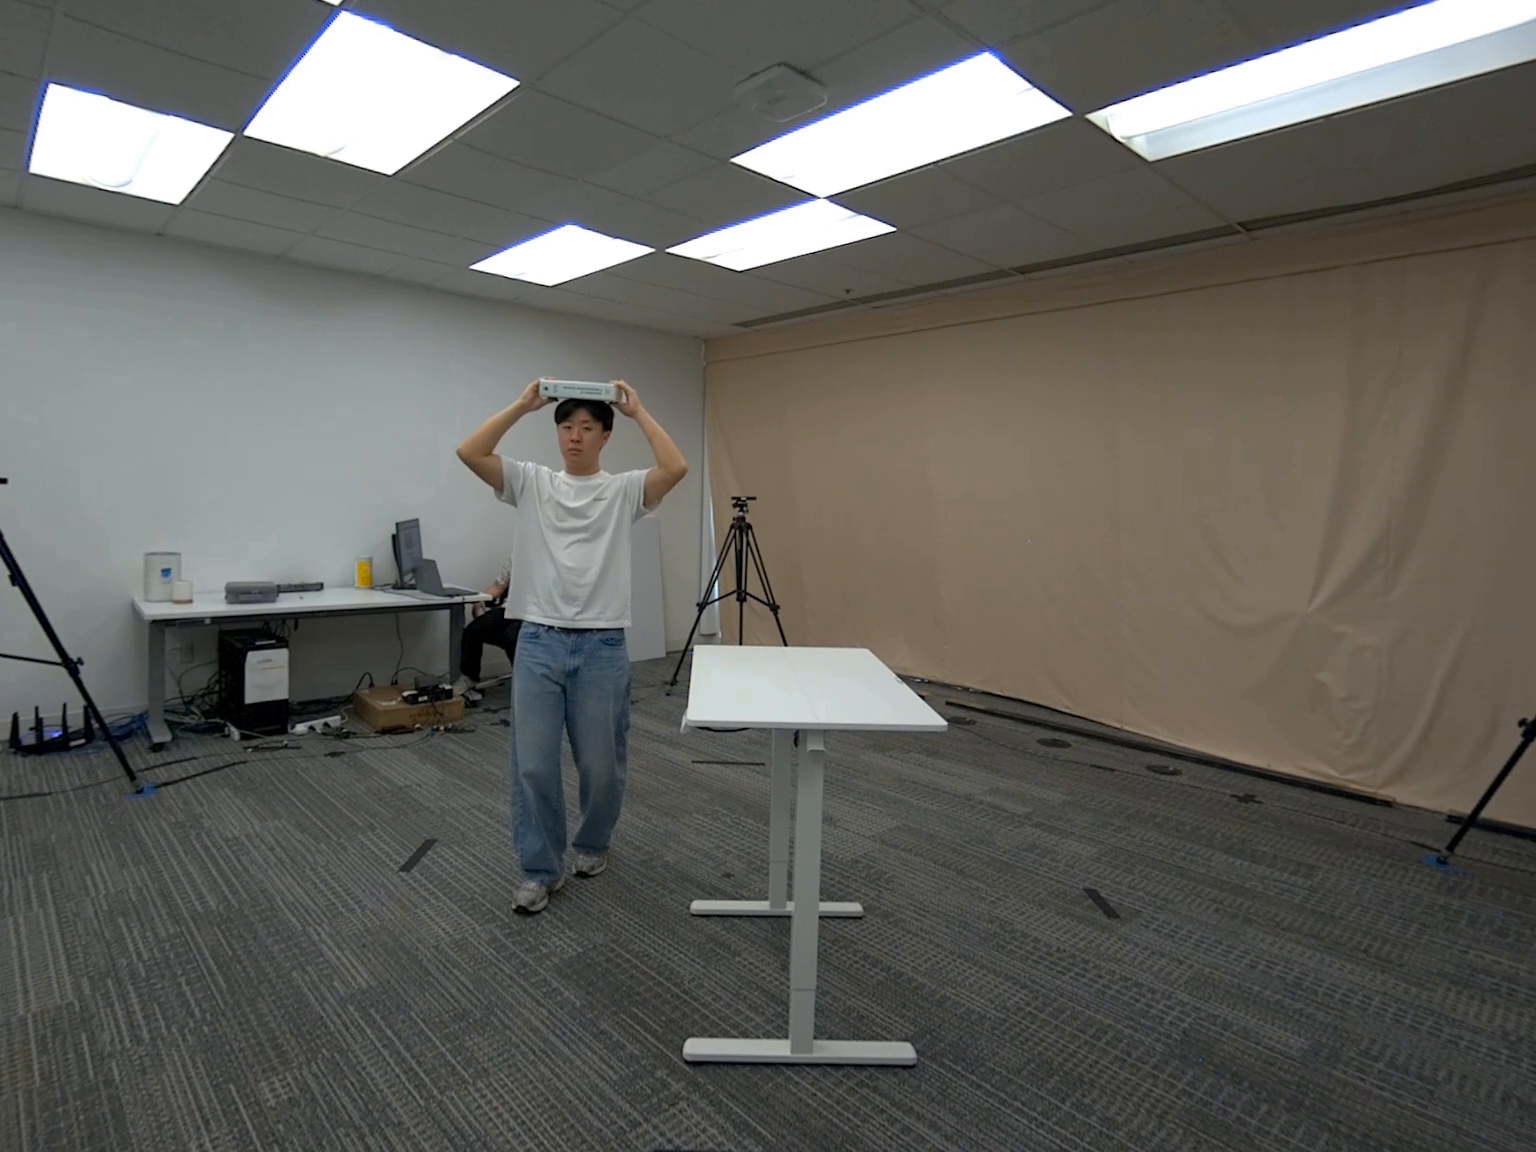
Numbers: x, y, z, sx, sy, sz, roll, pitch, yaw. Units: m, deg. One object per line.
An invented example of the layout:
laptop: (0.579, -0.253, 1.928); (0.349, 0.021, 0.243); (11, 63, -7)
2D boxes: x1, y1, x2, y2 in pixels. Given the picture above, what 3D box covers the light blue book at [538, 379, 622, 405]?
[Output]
light blue book: (-0.659, -0.645, 2.948); (0.262, 0.058, 0.191); (5, 10, 5)
